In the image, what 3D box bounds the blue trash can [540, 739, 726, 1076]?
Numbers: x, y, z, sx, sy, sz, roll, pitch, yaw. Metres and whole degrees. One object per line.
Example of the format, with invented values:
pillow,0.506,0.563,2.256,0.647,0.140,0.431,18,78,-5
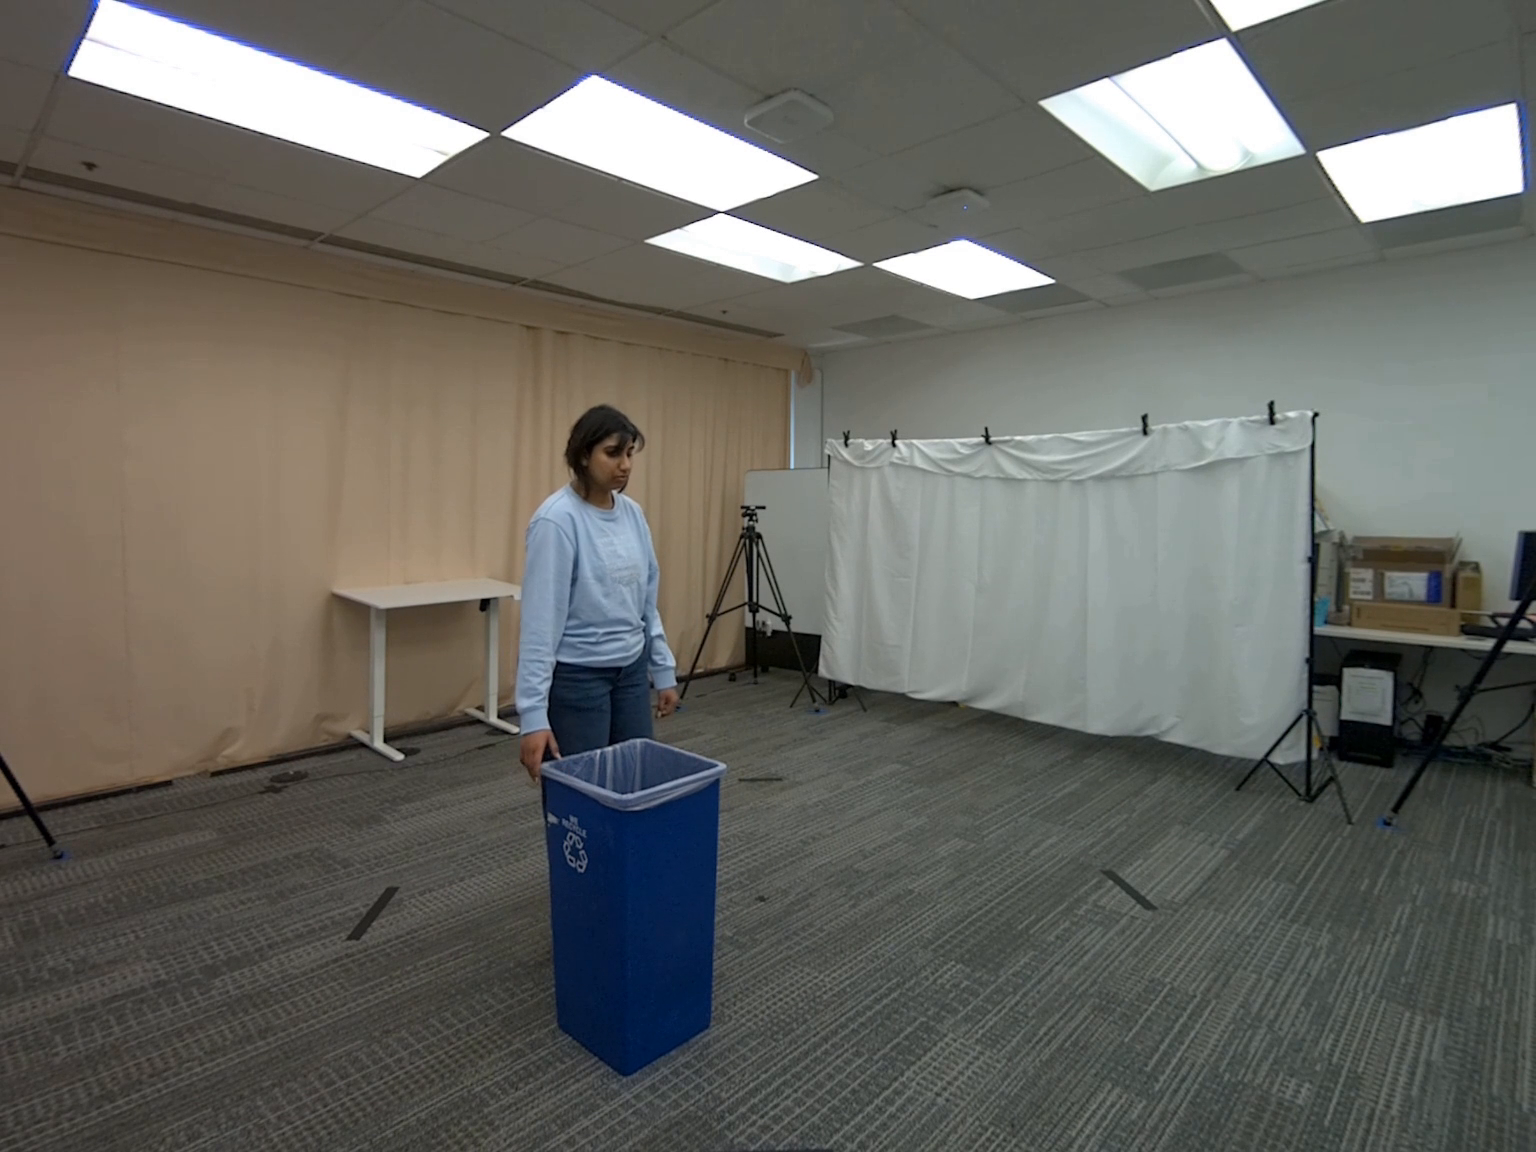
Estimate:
blue trash can,-0.345,0.852,2.231,0.386,0.712,0.366,3,6,43
